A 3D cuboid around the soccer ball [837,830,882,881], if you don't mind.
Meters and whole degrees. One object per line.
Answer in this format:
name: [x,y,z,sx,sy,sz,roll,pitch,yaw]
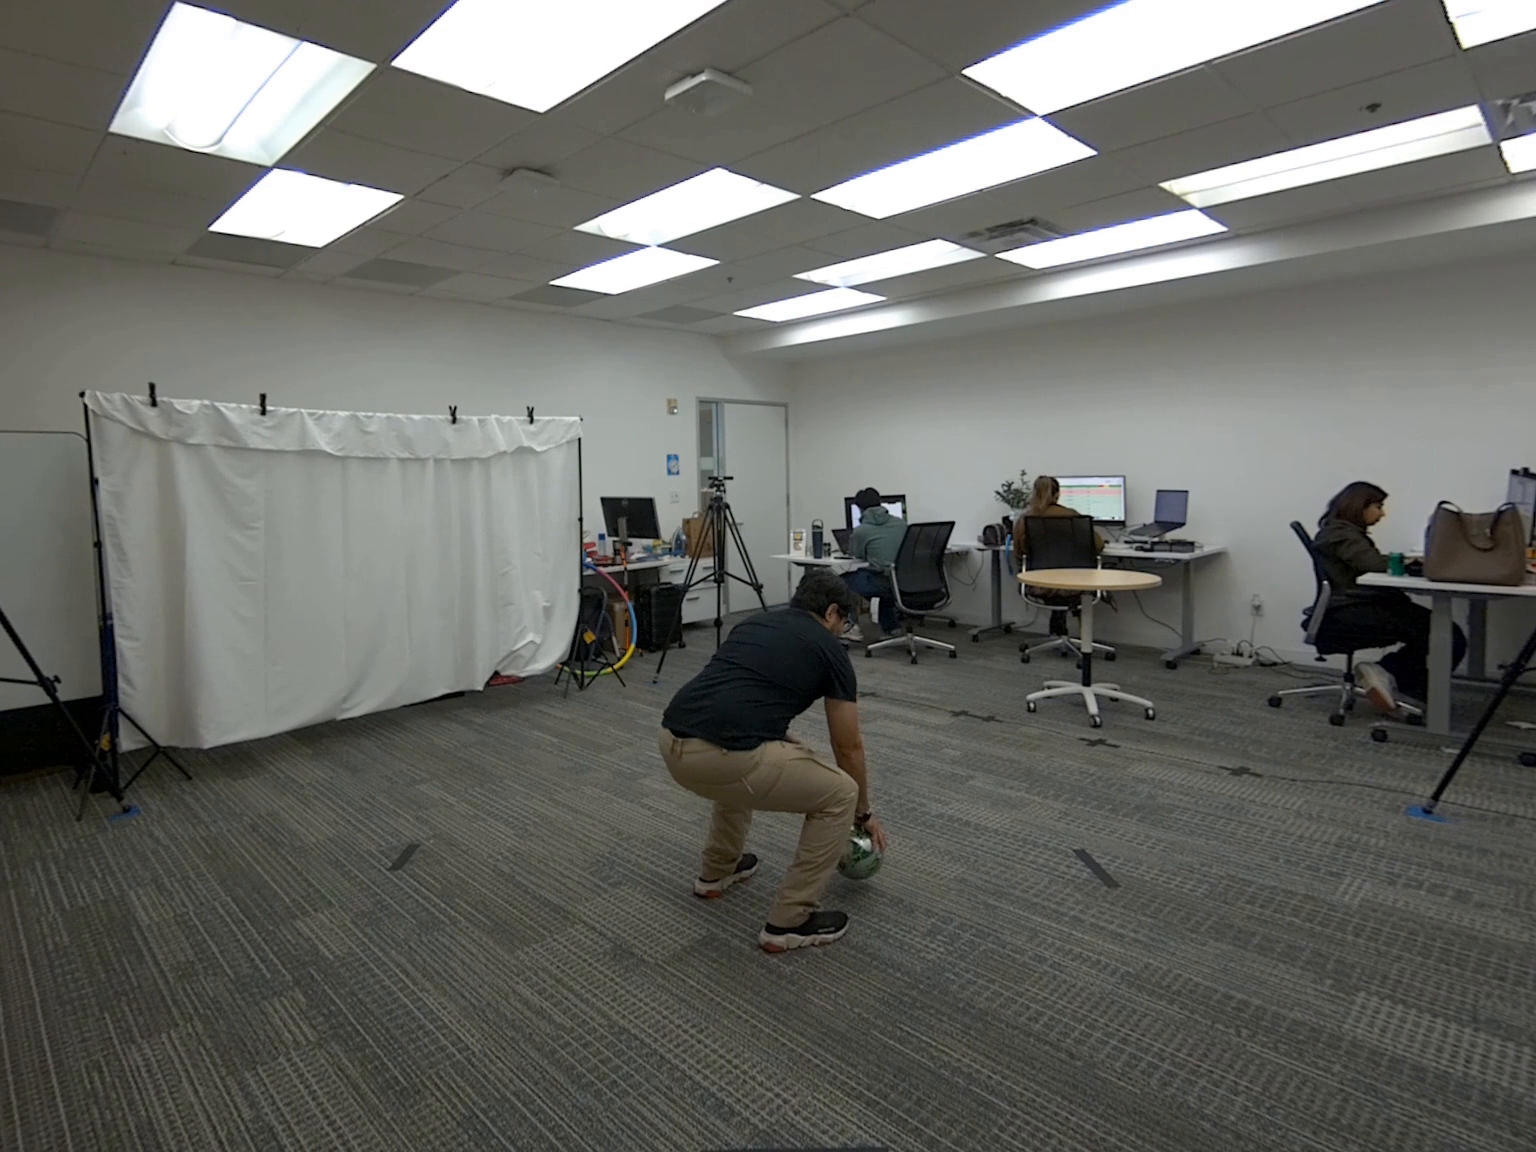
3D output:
soccer ball: [0.298,0.921,2.887,0.187,0.187,0.188,-1,5,-2]
